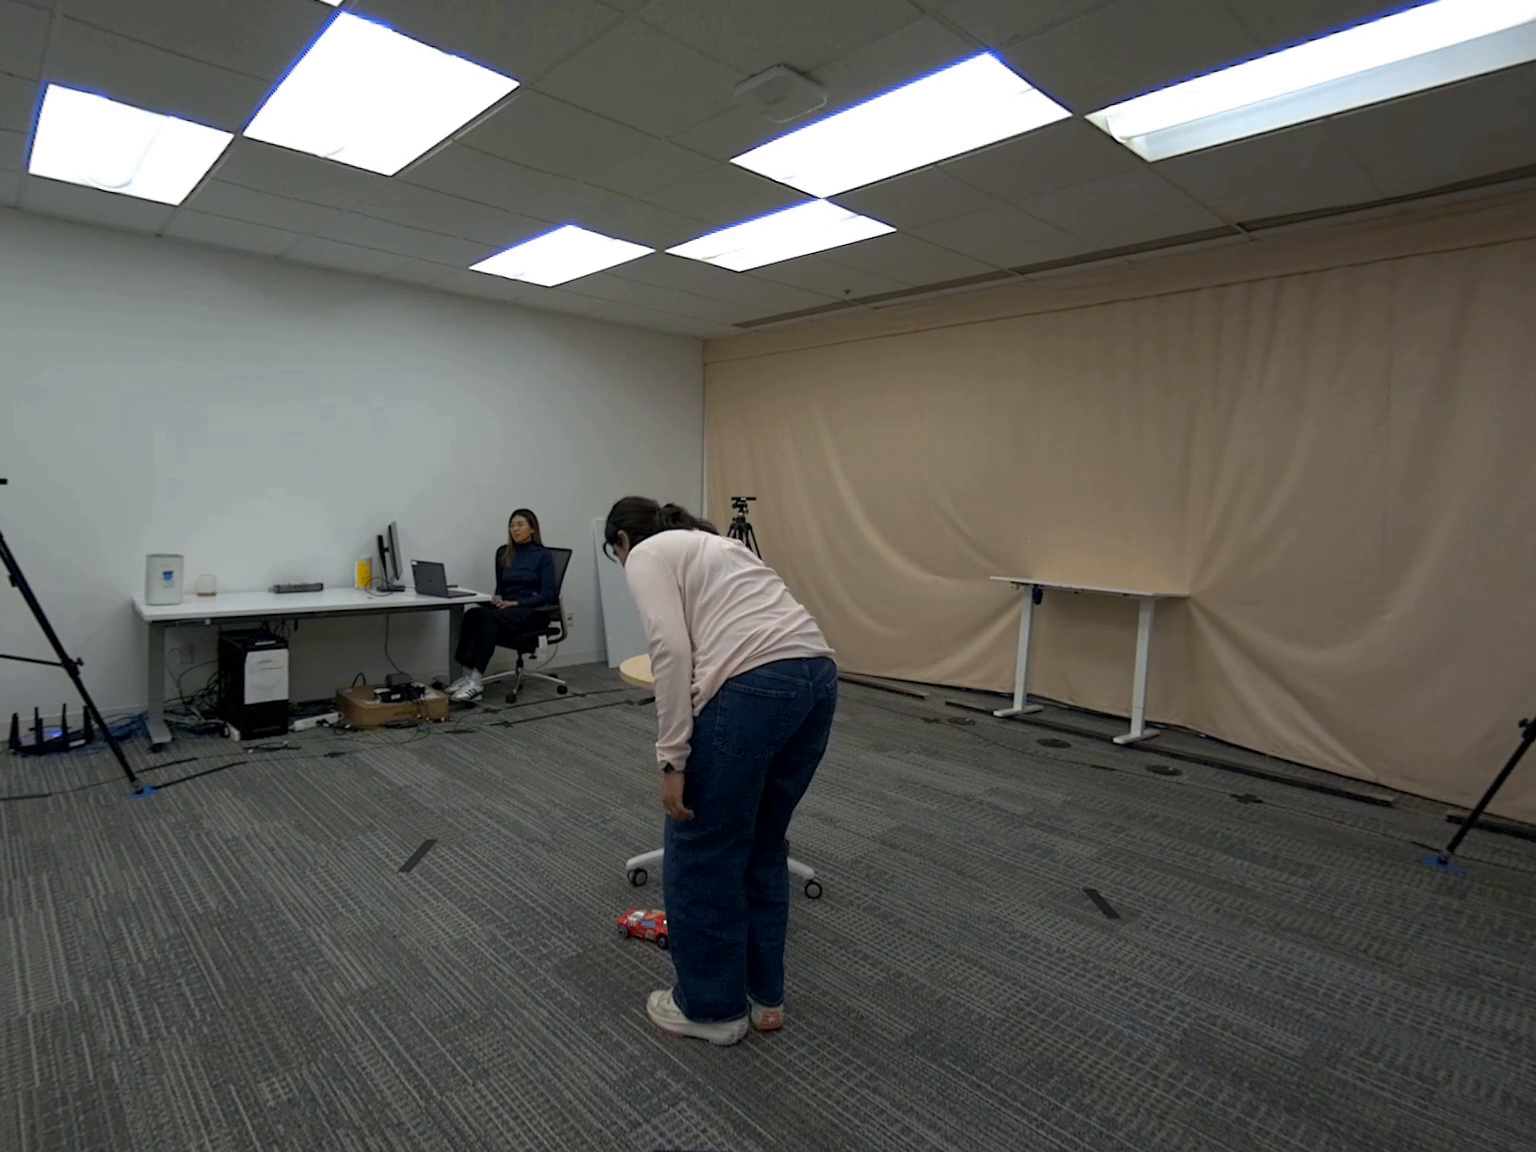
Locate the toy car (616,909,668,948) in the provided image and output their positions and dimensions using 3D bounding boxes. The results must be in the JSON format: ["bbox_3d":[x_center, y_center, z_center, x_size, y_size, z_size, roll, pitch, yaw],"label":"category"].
[{"bbox_3d":[-0.354,1.110,2.659,0.258,0.083,0.128,-8,0,24],"label":"toy car"}]
